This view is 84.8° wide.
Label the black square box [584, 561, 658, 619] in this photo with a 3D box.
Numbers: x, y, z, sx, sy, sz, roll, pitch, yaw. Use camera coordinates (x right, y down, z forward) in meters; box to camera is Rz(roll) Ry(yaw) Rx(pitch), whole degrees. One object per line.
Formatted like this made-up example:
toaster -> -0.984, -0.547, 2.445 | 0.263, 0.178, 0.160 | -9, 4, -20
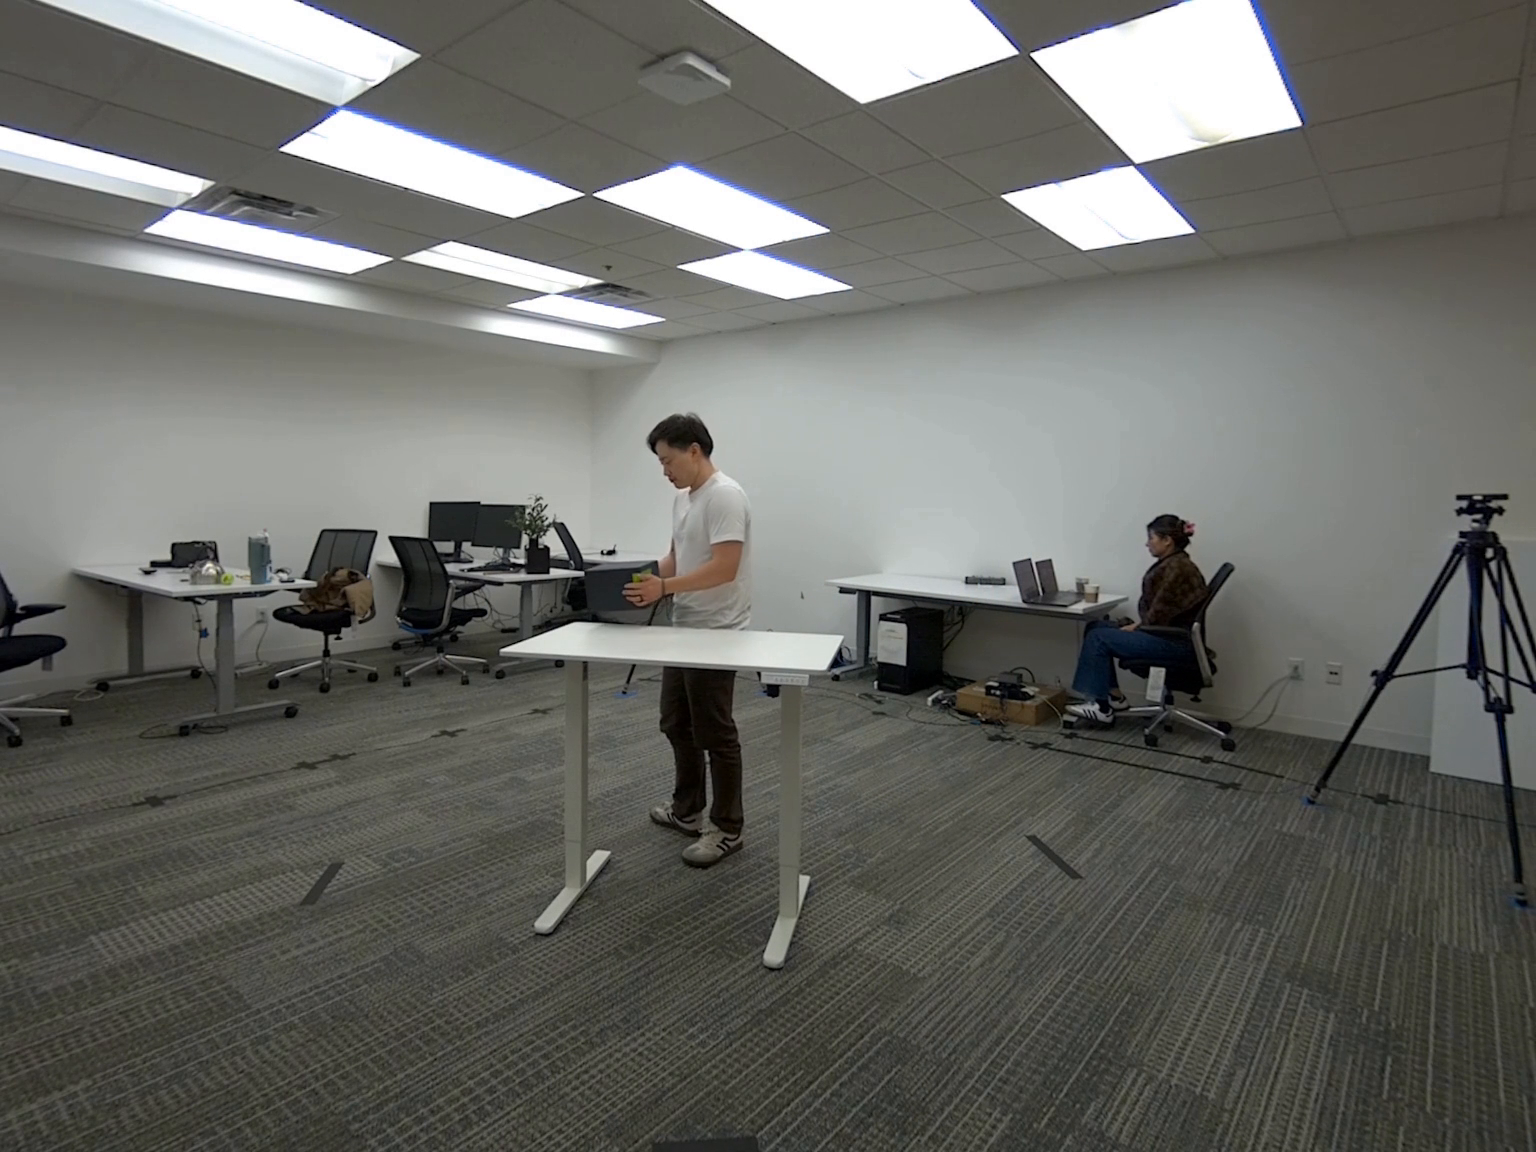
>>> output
black square box -> -0.555, 0.031, 3.193 | 0.220, 0.155, 0.226 | -3, 5, 12
